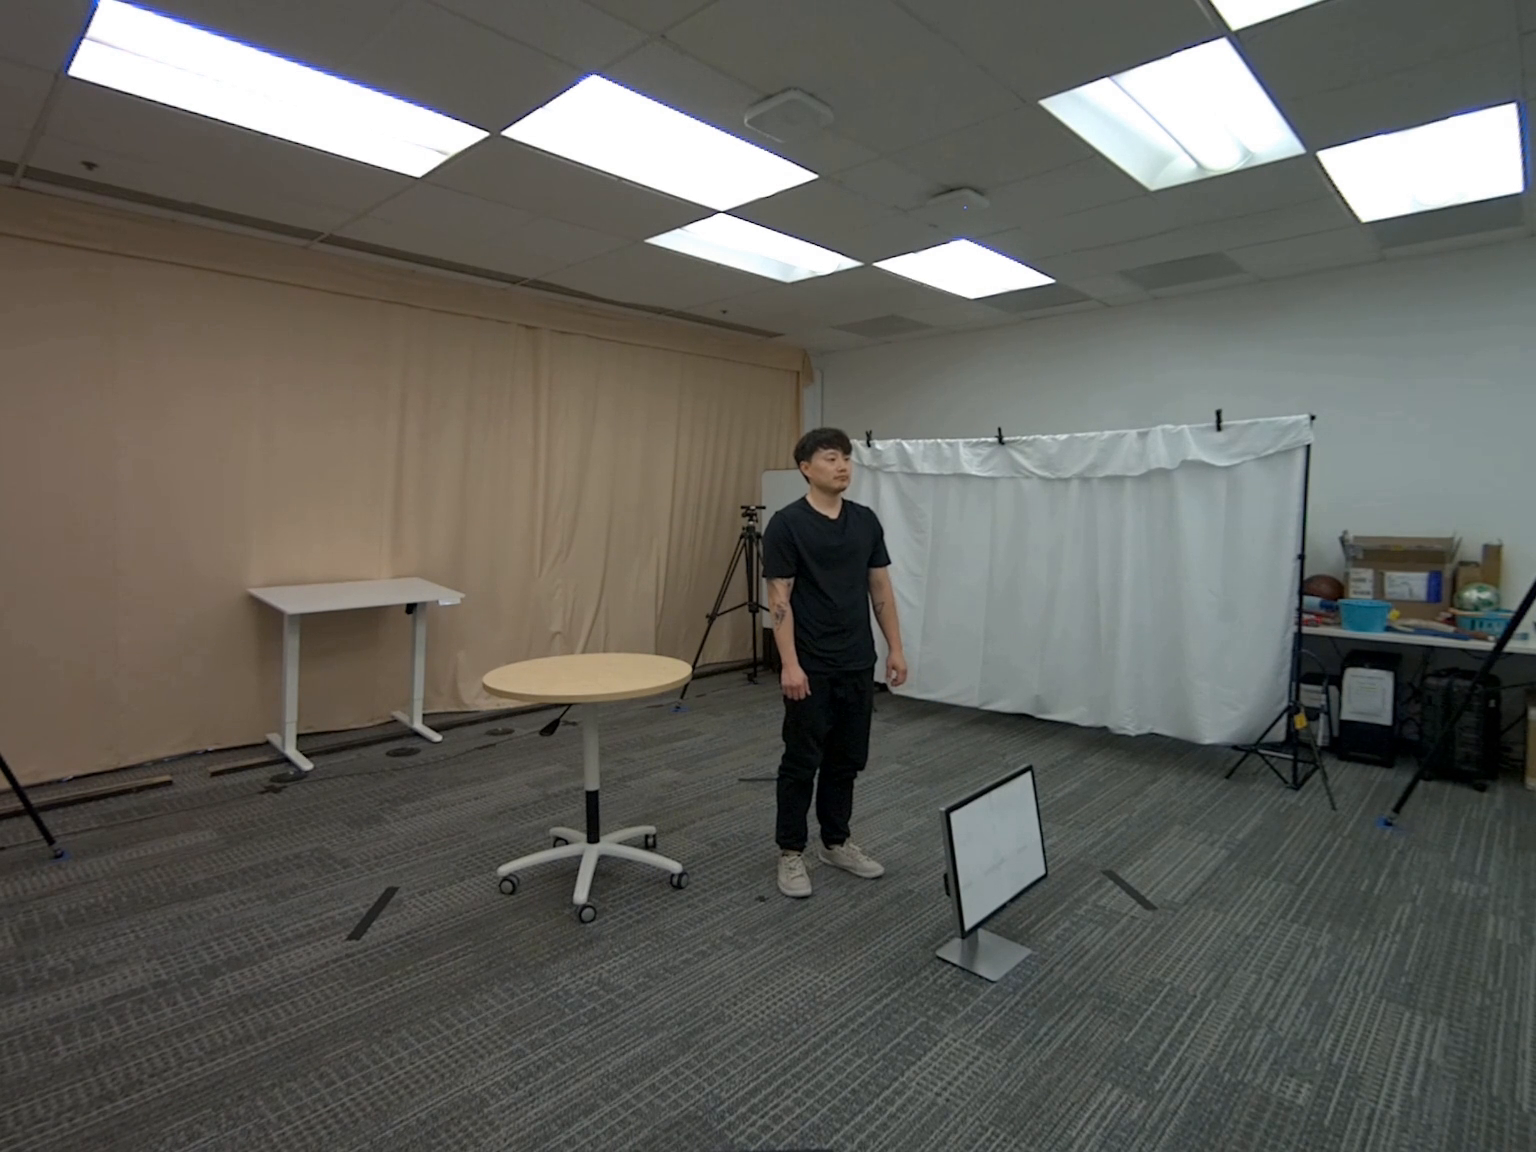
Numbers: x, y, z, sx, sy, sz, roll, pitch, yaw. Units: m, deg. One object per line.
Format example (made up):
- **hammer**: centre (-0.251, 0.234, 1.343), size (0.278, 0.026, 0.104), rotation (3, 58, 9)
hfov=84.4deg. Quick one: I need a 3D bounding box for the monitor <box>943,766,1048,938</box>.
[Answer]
- **monitor**: centre (0.684, 0.914, 2.587), size (0.193, 0.521, 0.523), rotation (7, 8, 41)
